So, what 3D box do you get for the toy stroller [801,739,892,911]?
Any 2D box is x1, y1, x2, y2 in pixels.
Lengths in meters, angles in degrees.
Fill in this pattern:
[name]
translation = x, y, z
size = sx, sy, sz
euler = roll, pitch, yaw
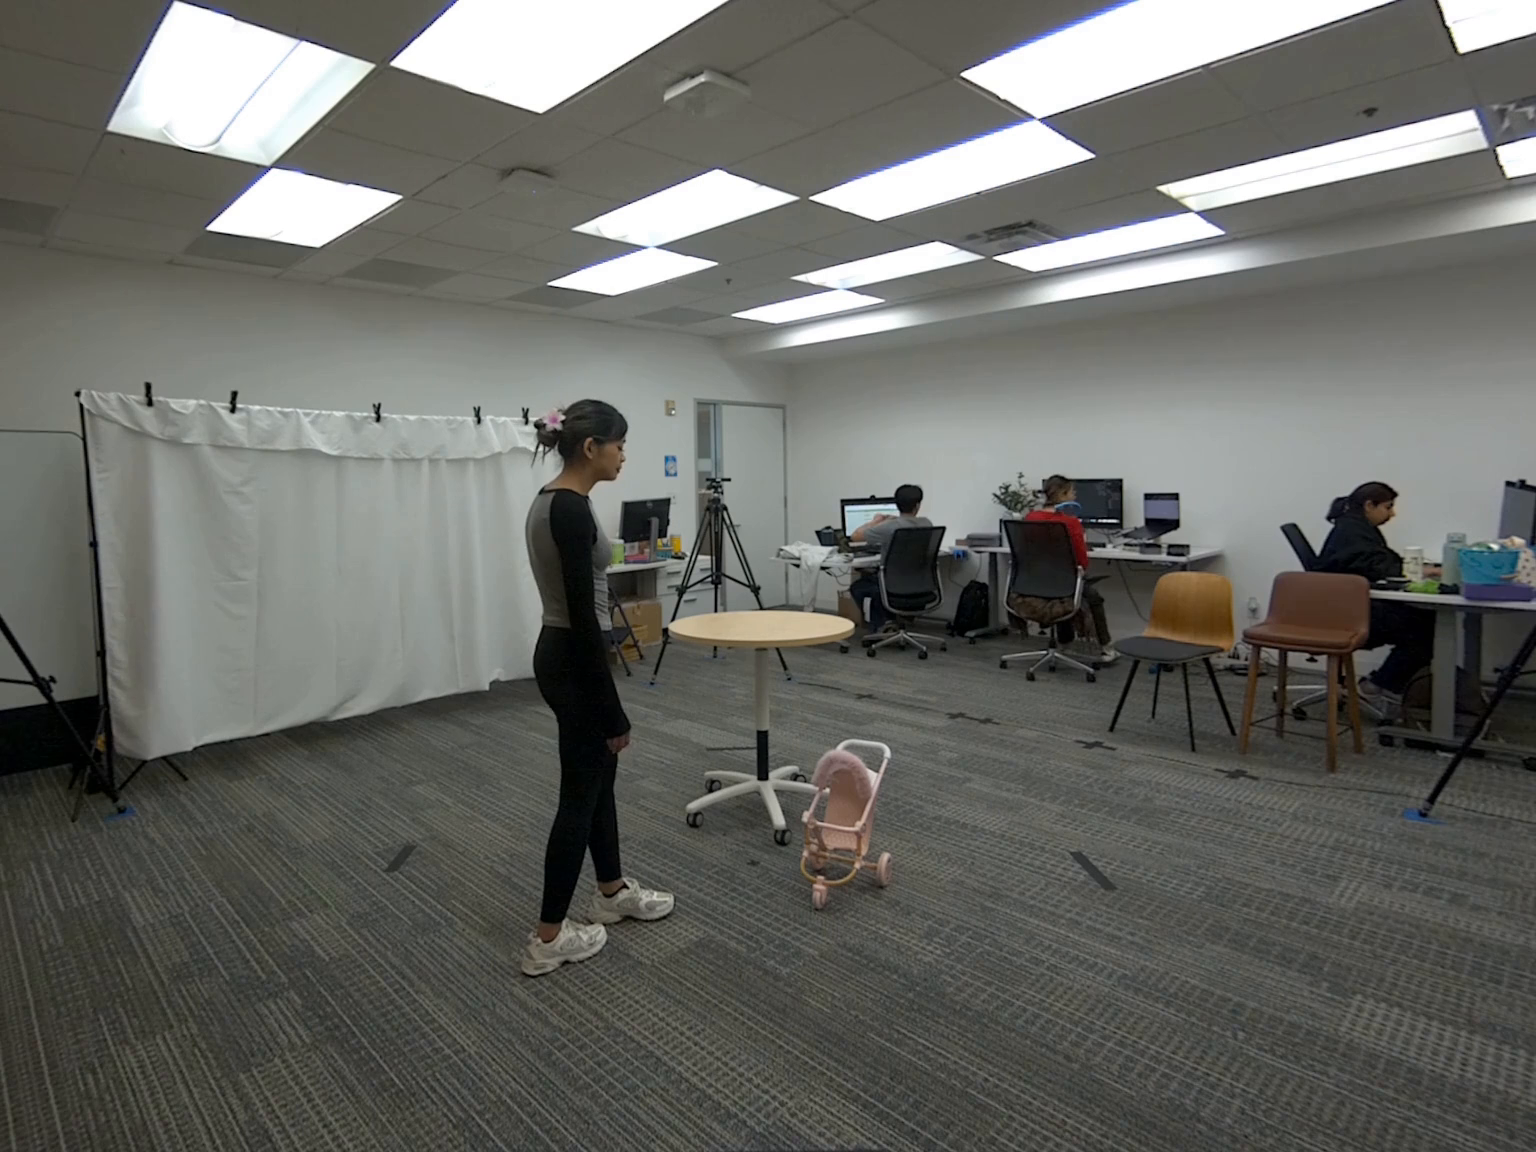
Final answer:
[toy stroller]
translation = 0.253, 0.833, 2.916
size = 0.289, 0.539, 0.329
euler = 0, -11, 34
